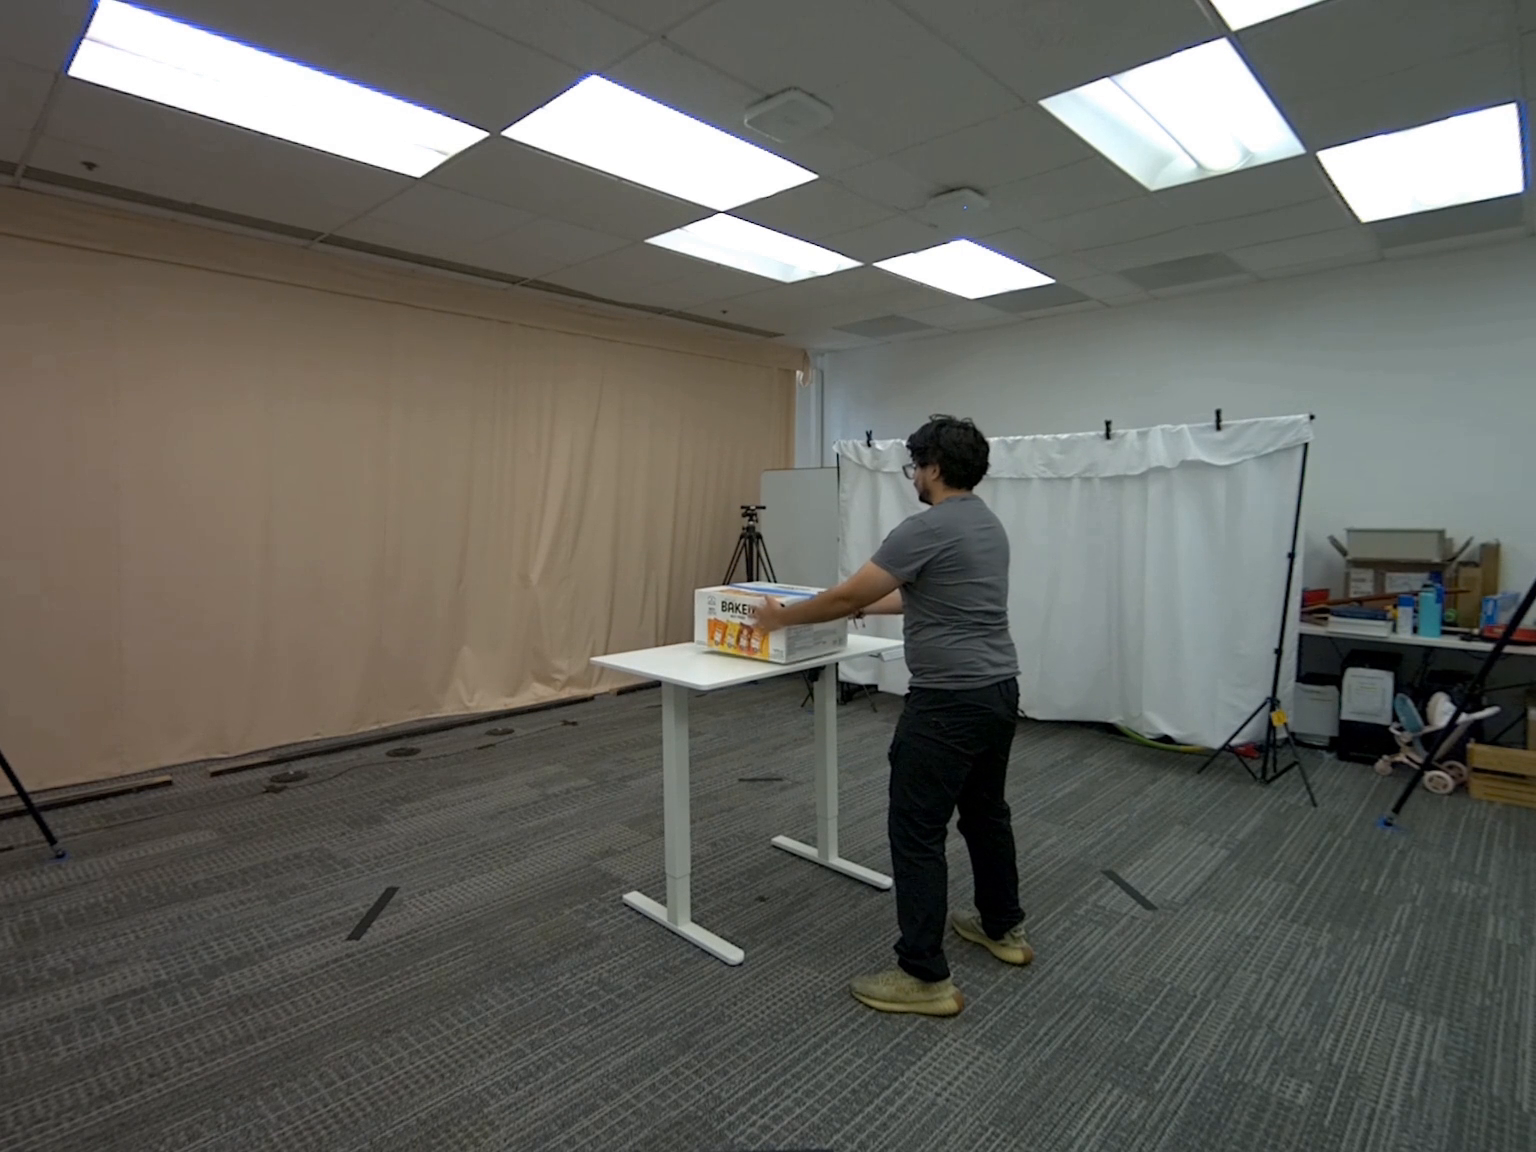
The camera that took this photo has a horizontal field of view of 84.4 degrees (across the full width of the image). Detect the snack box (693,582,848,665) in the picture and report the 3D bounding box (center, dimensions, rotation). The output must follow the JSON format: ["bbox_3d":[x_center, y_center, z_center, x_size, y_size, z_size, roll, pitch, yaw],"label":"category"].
[{"bbox_3d":[0.013,0.150,2.904,0.419,0.205,0.330,6,8,42],"label":"snack box"}]
